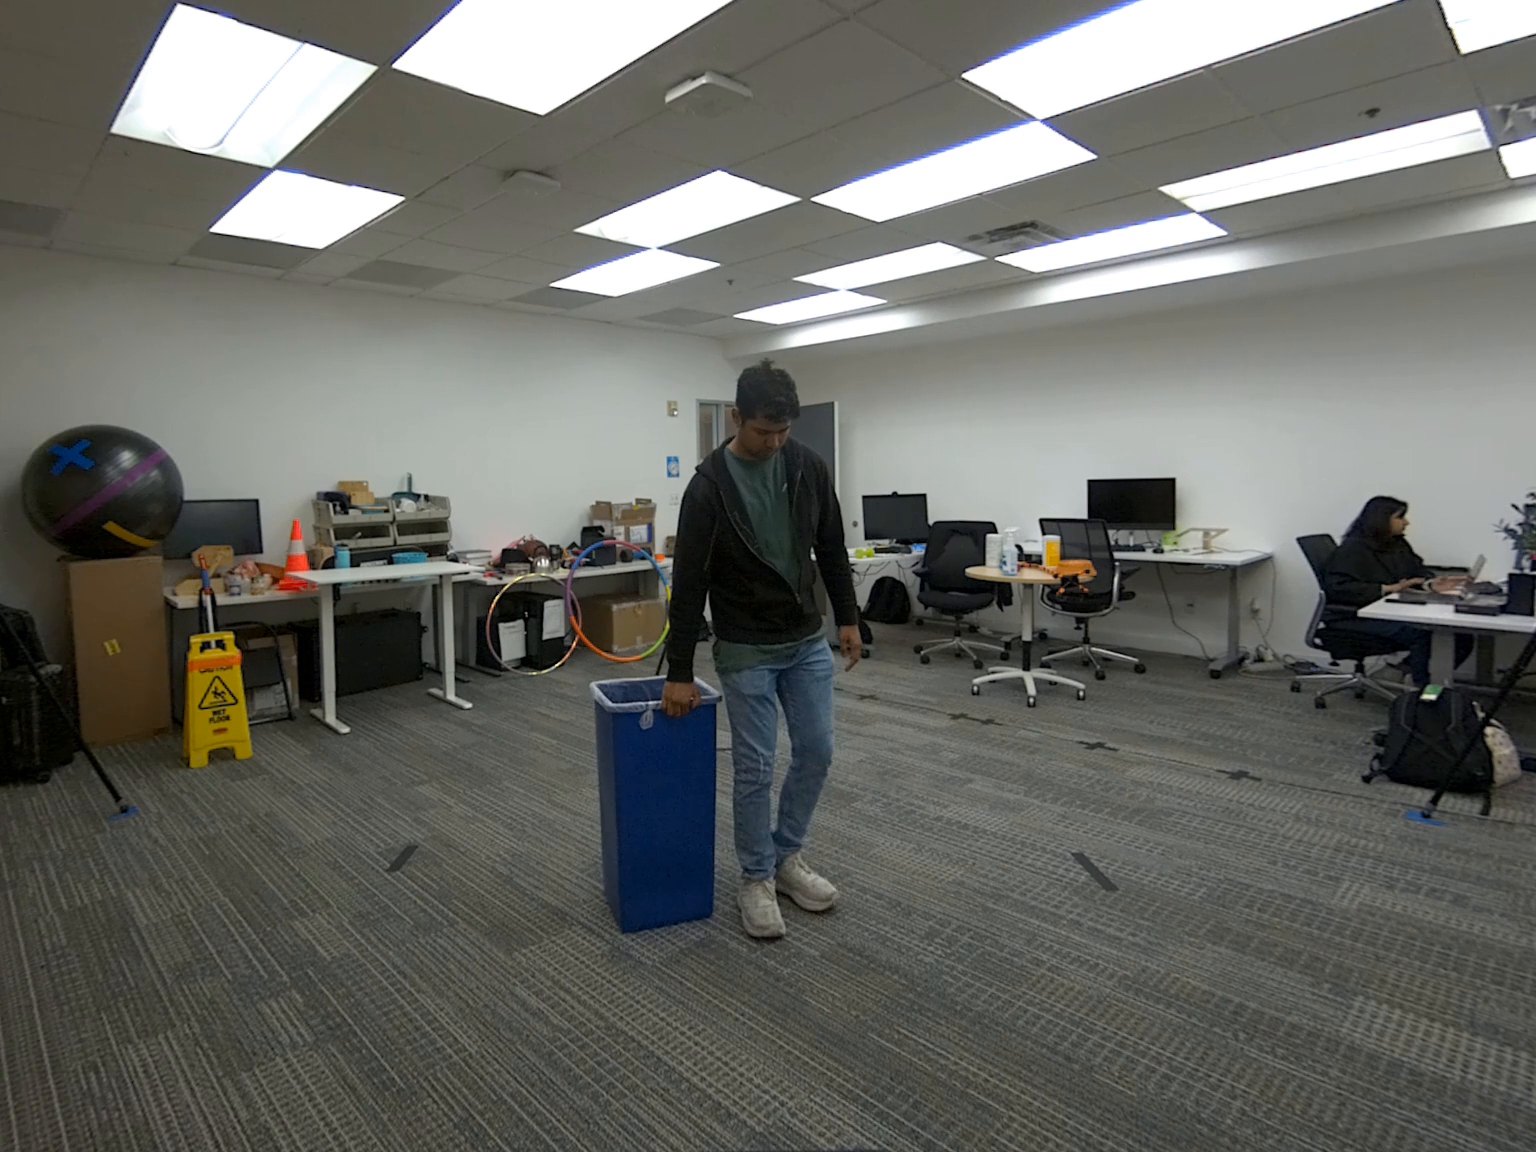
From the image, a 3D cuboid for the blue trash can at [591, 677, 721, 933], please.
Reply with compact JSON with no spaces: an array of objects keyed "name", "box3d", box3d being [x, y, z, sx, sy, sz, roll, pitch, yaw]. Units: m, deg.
[{"name":"blue trash can","box3d":[-0.364,0.722,2.816,0.367,0.711,0.386,-3,4,-23]}]
